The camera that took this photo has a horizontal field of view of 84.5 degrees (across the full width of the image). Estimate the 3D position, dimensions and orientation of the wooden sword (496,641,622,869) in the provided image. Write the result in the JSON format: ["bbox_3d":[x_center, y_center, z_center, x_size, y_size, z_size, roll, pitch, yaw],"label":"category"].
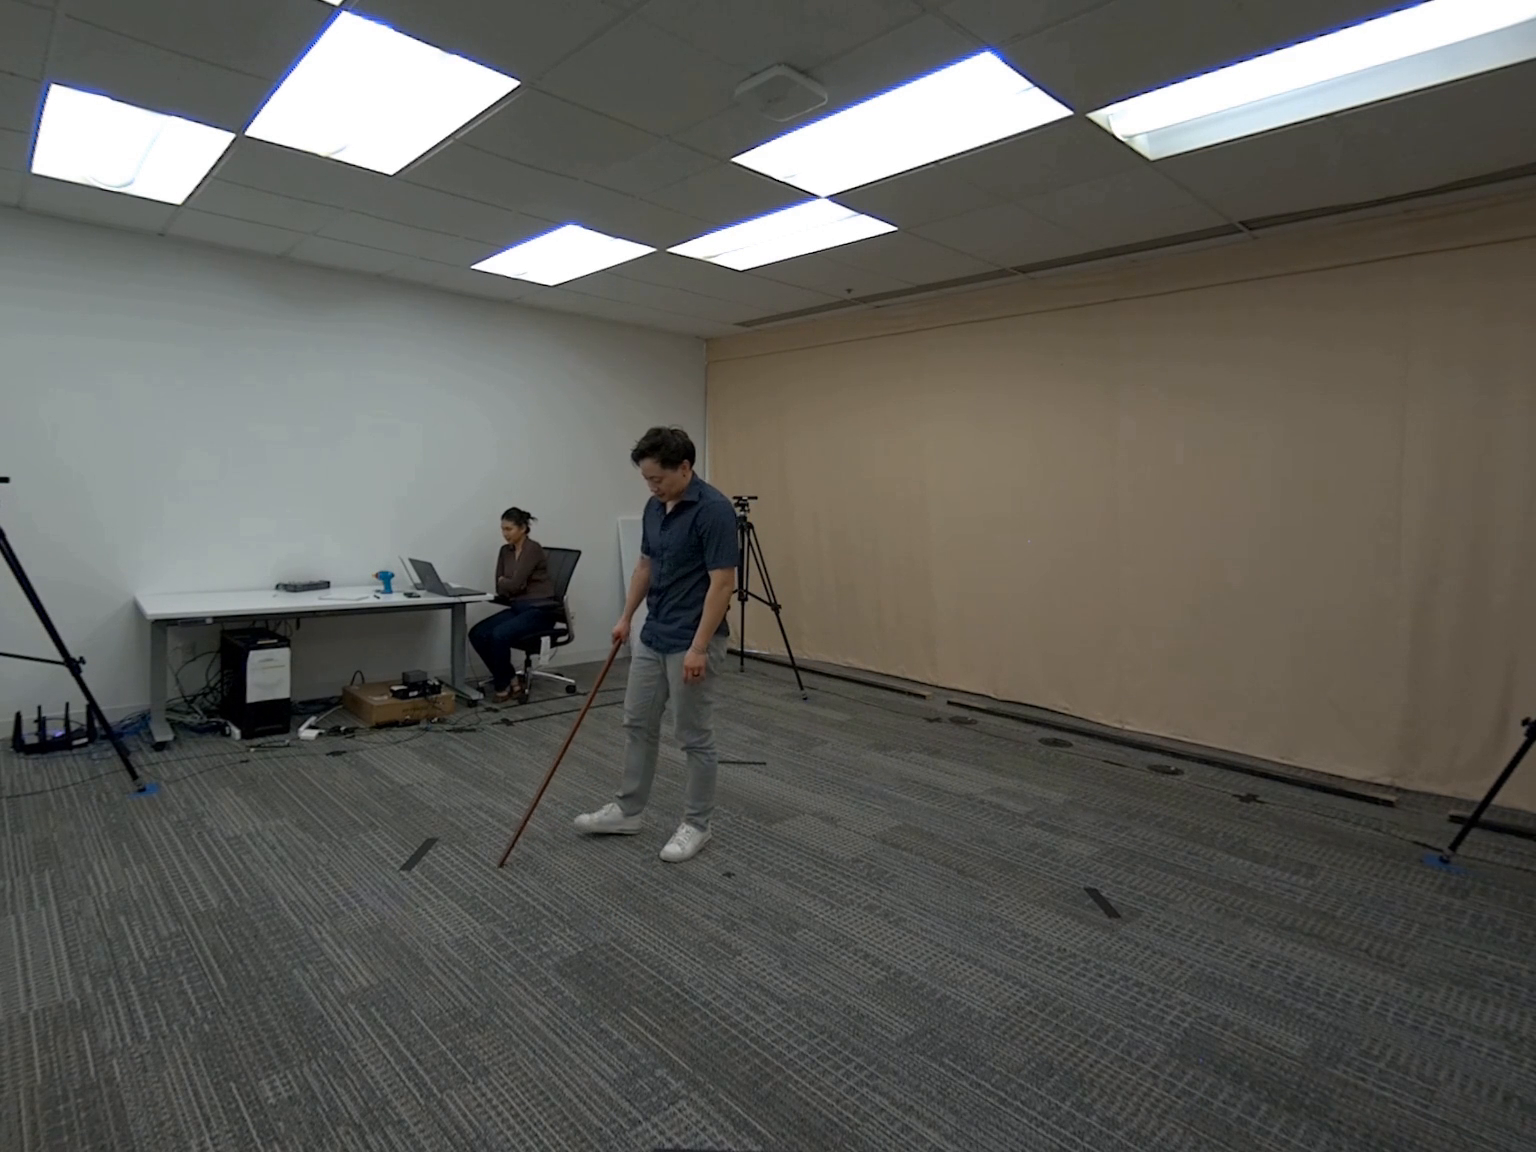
[{"bbox_3d":[-0.806,0.657,3.331,0.051,1.032,0.024,25,-24,-1],"label":"wooden sword"}]
